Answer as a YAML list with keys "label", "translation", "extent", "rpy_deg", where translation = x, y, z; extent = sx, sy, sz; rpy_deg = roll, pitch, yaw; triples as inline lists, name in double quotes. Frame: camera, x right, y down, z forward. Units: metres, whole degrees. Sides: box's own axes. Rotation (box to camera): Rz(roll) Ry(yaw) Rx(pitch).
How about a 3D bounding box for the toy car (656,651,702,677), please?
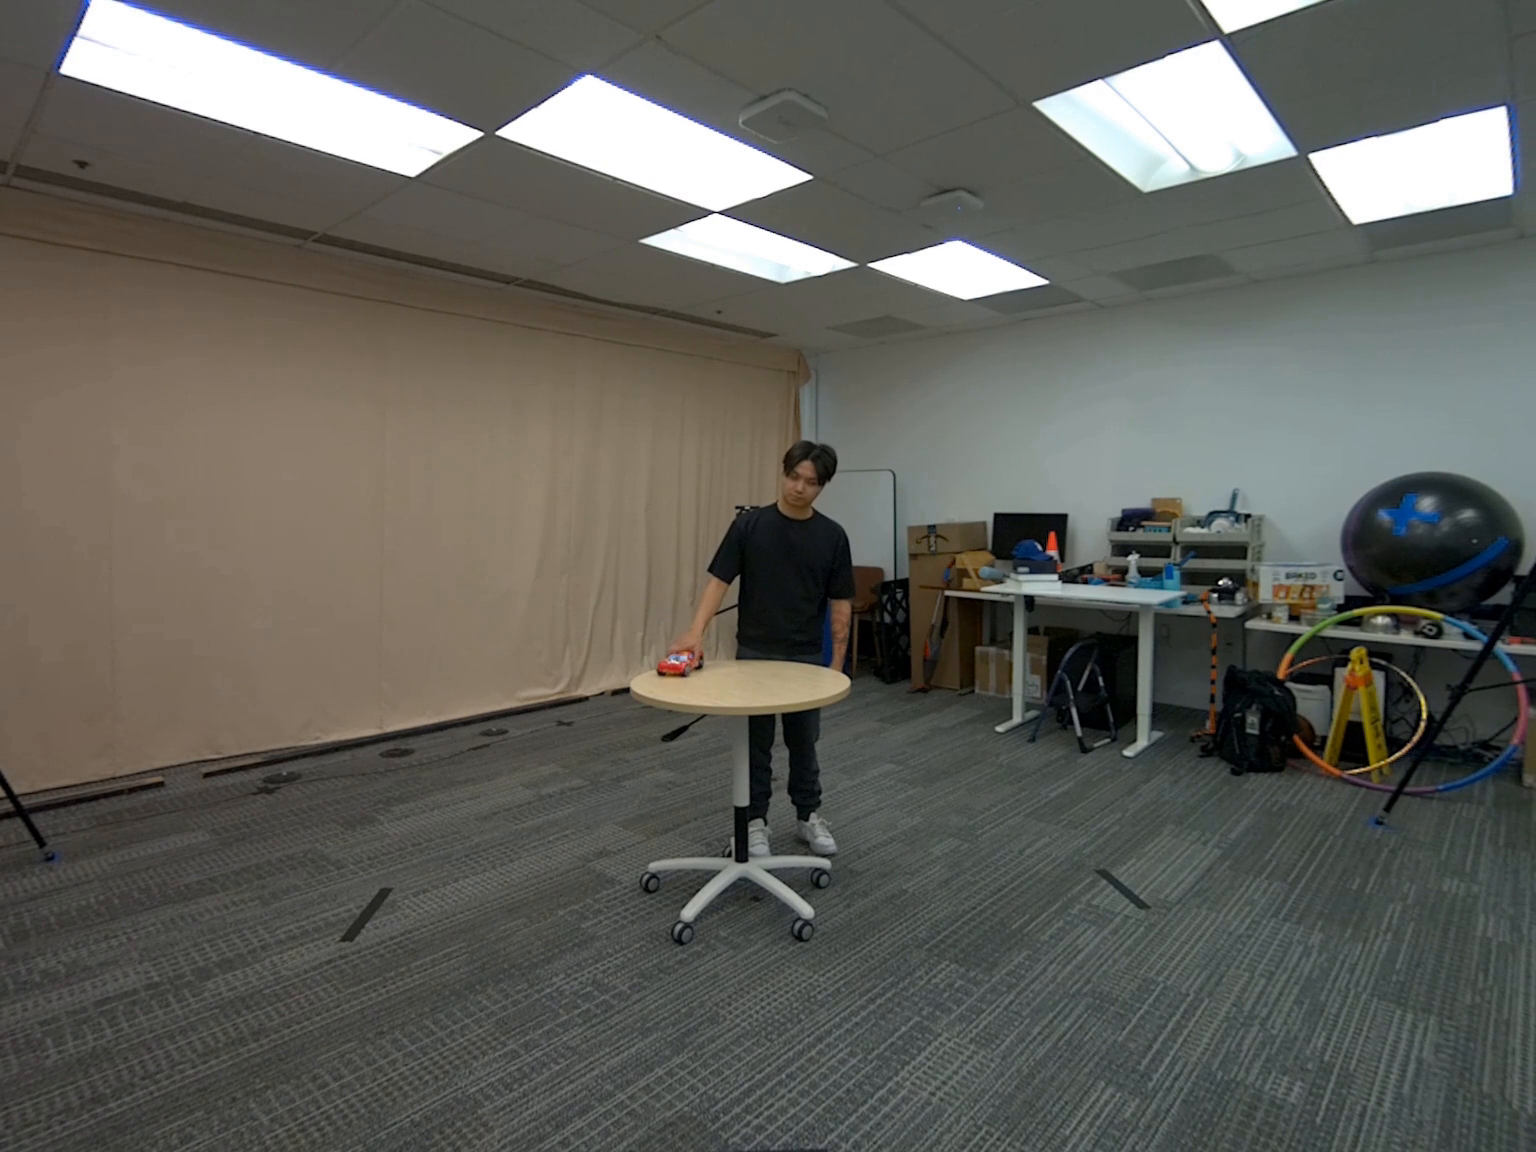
- label: "toy car"
  translation: [-0.311, 0.321, 3.121]
  extent: [0.133, 0.082, 0.252]
  rpy_deg: [0, 16, 16]
